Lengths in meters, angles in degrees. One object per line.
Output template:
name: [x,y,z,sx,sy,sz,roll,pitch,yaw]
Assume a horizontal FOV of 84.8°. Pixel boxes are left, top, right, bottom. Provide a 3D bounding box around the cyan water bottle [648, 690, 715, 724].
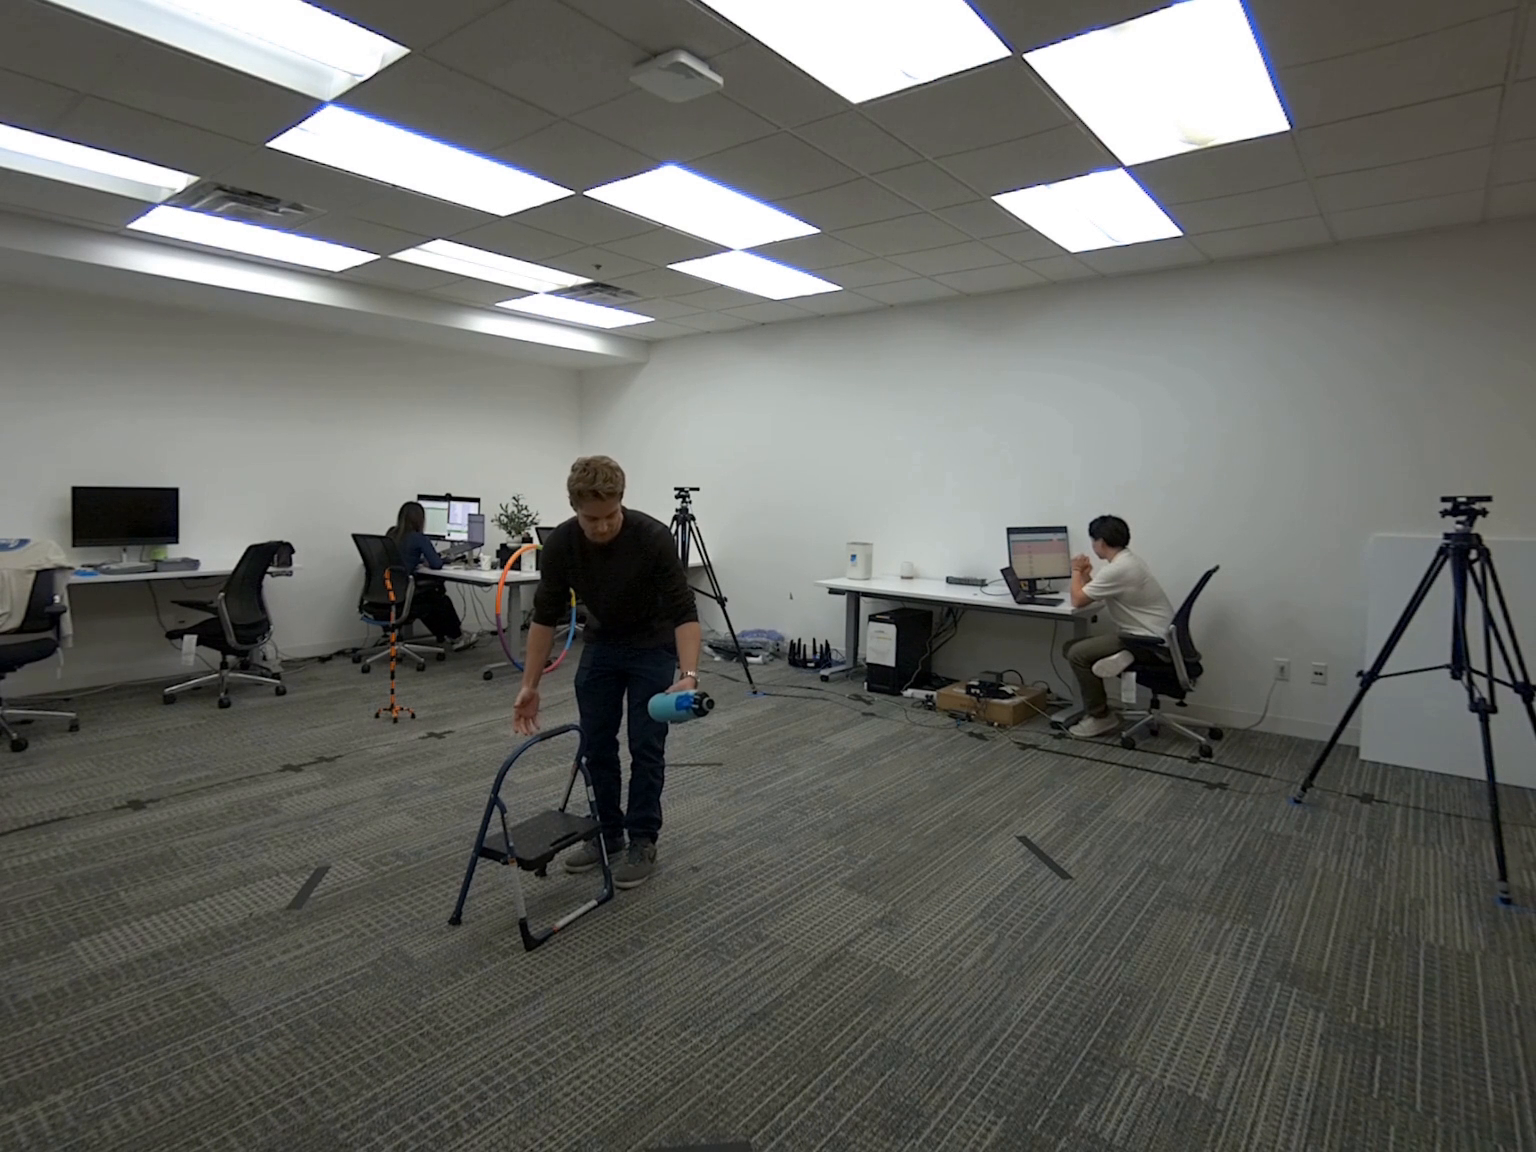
cyan water bottle: [-0.288,0.407,2.656,0.089,0.093,0.289,-2,-9,-36]
